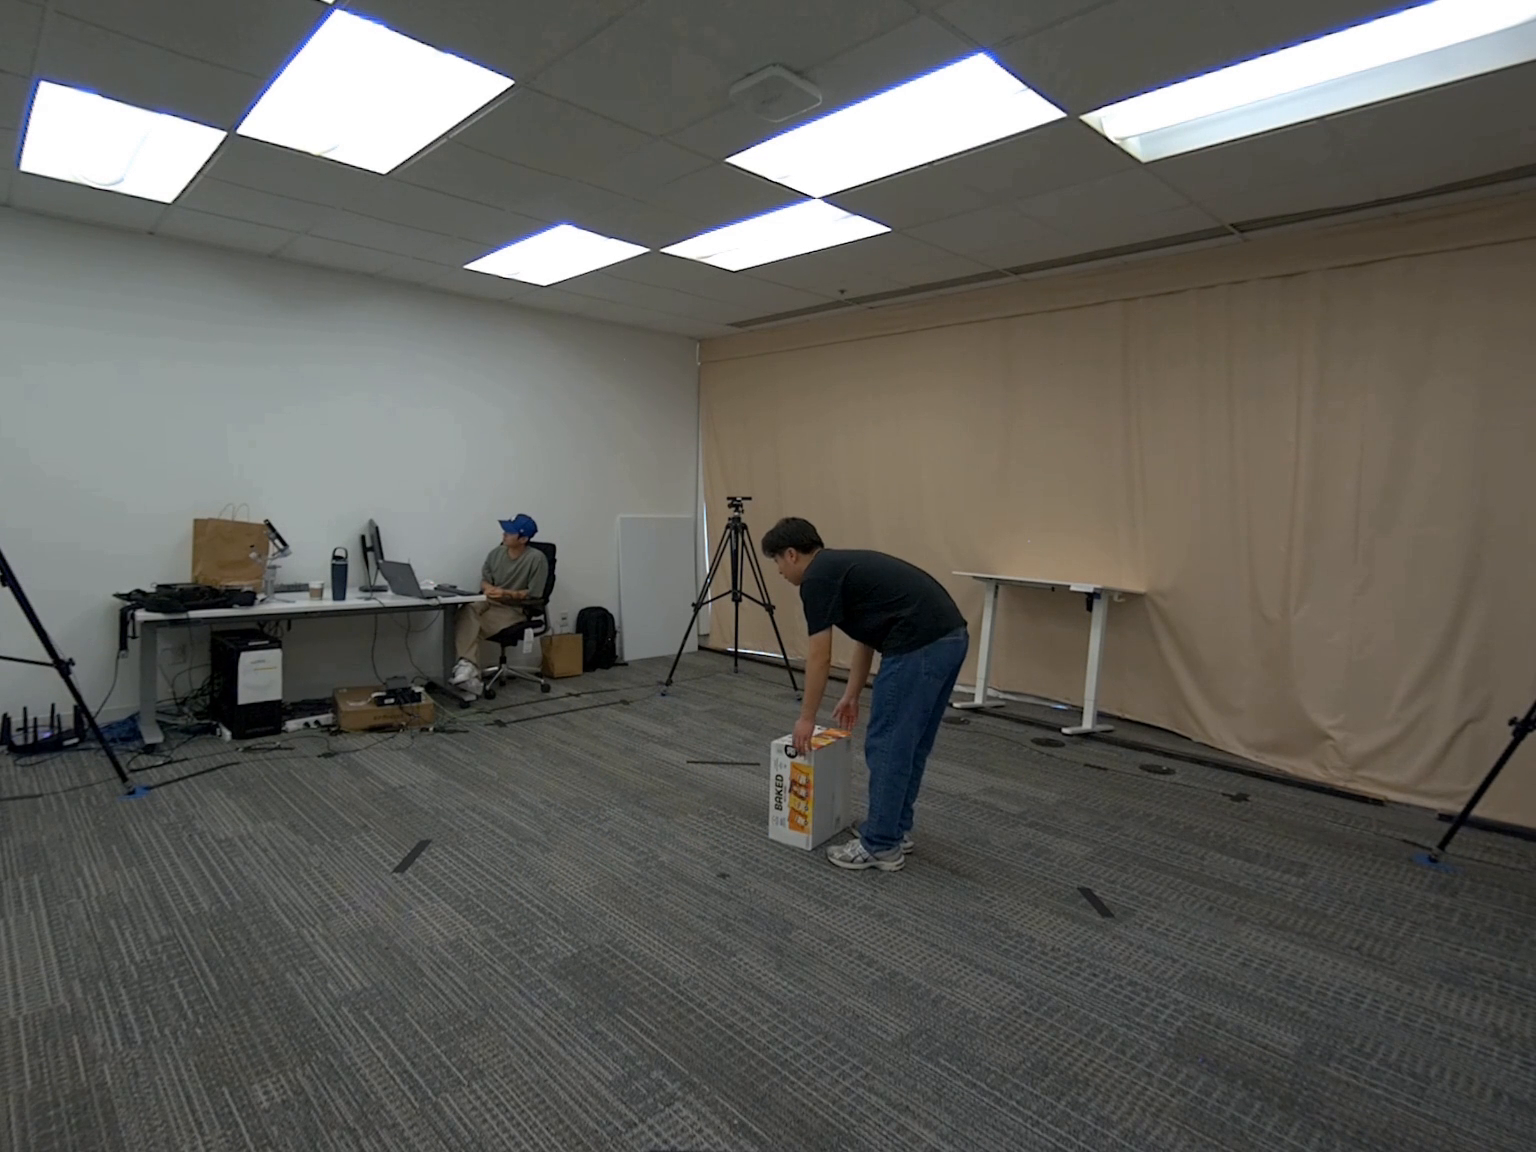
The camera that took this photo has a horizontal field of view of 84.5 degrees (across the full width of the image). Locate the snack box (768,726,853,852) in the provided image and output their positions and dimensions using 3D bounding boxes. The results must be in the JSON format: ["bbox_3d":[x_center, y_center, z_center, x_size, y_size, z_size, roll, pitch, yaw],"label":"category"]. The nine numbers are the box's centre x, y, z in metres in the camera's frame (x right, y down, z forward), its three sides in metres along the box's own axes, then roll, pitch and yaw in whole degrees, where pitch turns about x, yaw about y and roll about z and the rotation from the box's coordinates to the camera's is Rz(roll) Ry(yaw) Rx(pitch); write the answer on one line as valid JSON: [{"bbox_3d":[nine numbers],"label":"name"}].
[{"bbox_3d":[0.179,0.876,3.529,0.210,0.404,0.333,3,3,34],"label":"snack box"}]
